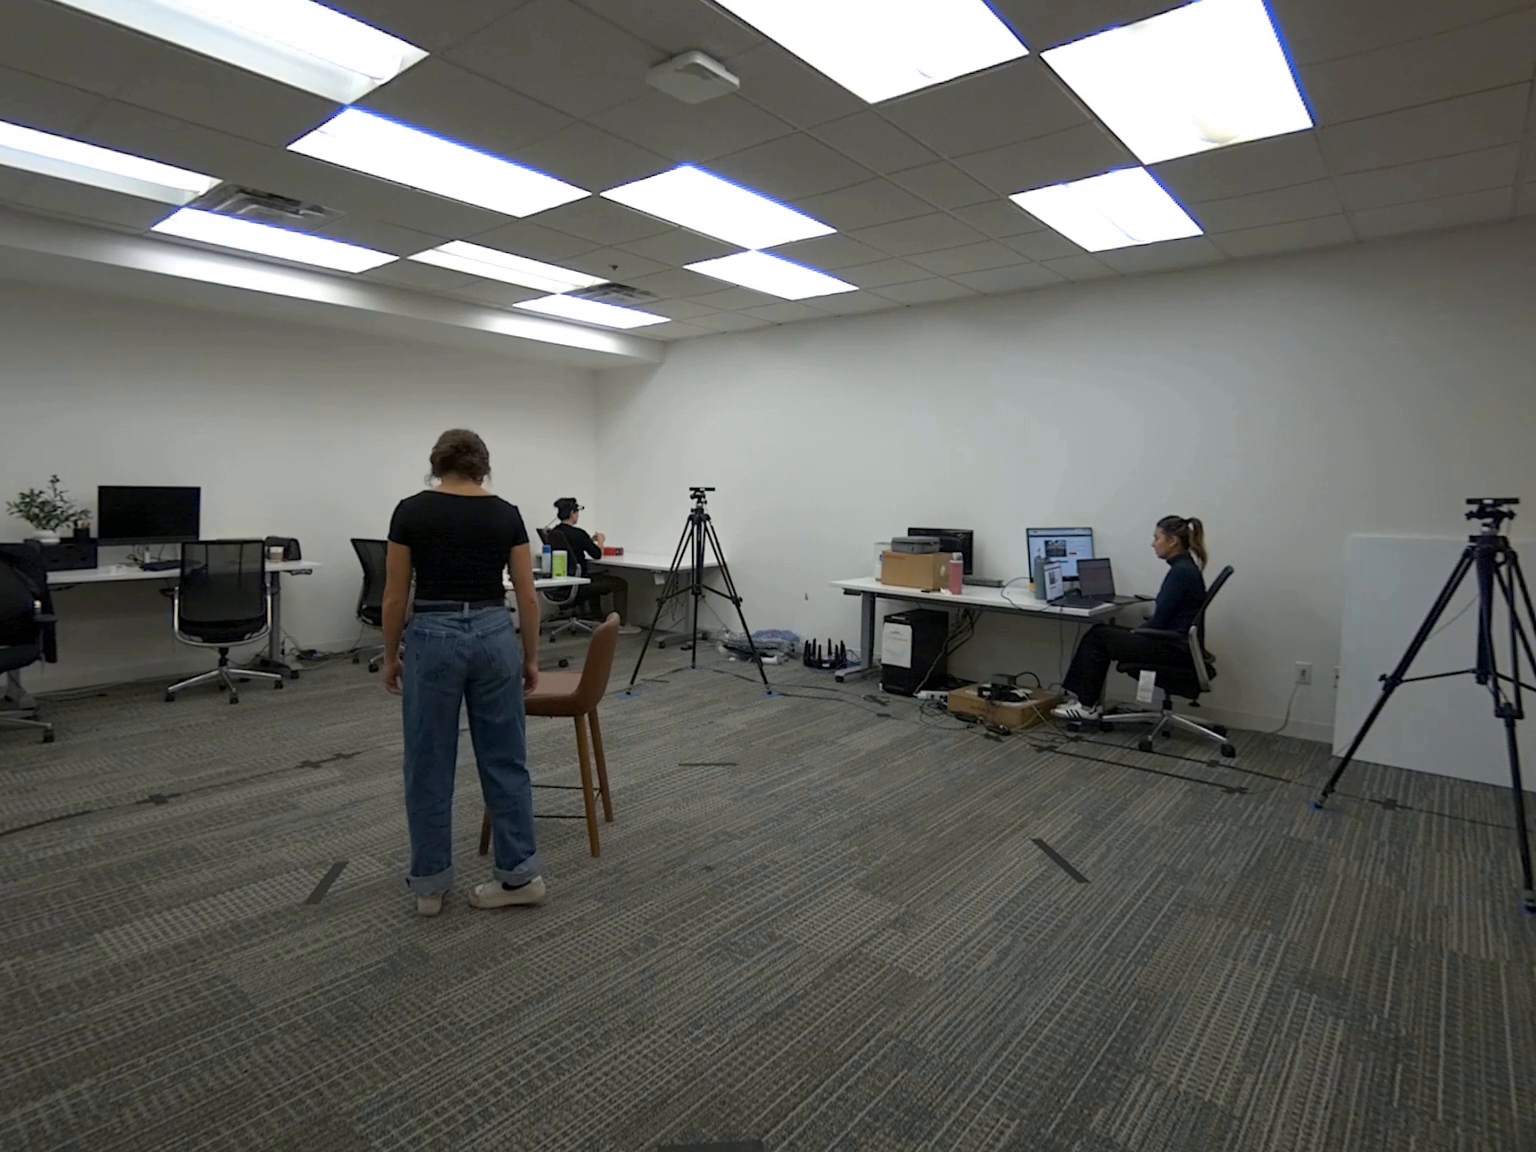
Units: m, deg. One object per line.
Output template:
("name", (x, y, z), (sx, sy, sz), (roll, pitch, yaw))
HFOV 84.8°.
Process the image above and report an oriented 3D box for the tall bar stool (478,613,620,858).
("tall bar stool", (-0.863, 0.596, 3.364), (0.469, 0.888, 0.457), (3, 3, 1))
